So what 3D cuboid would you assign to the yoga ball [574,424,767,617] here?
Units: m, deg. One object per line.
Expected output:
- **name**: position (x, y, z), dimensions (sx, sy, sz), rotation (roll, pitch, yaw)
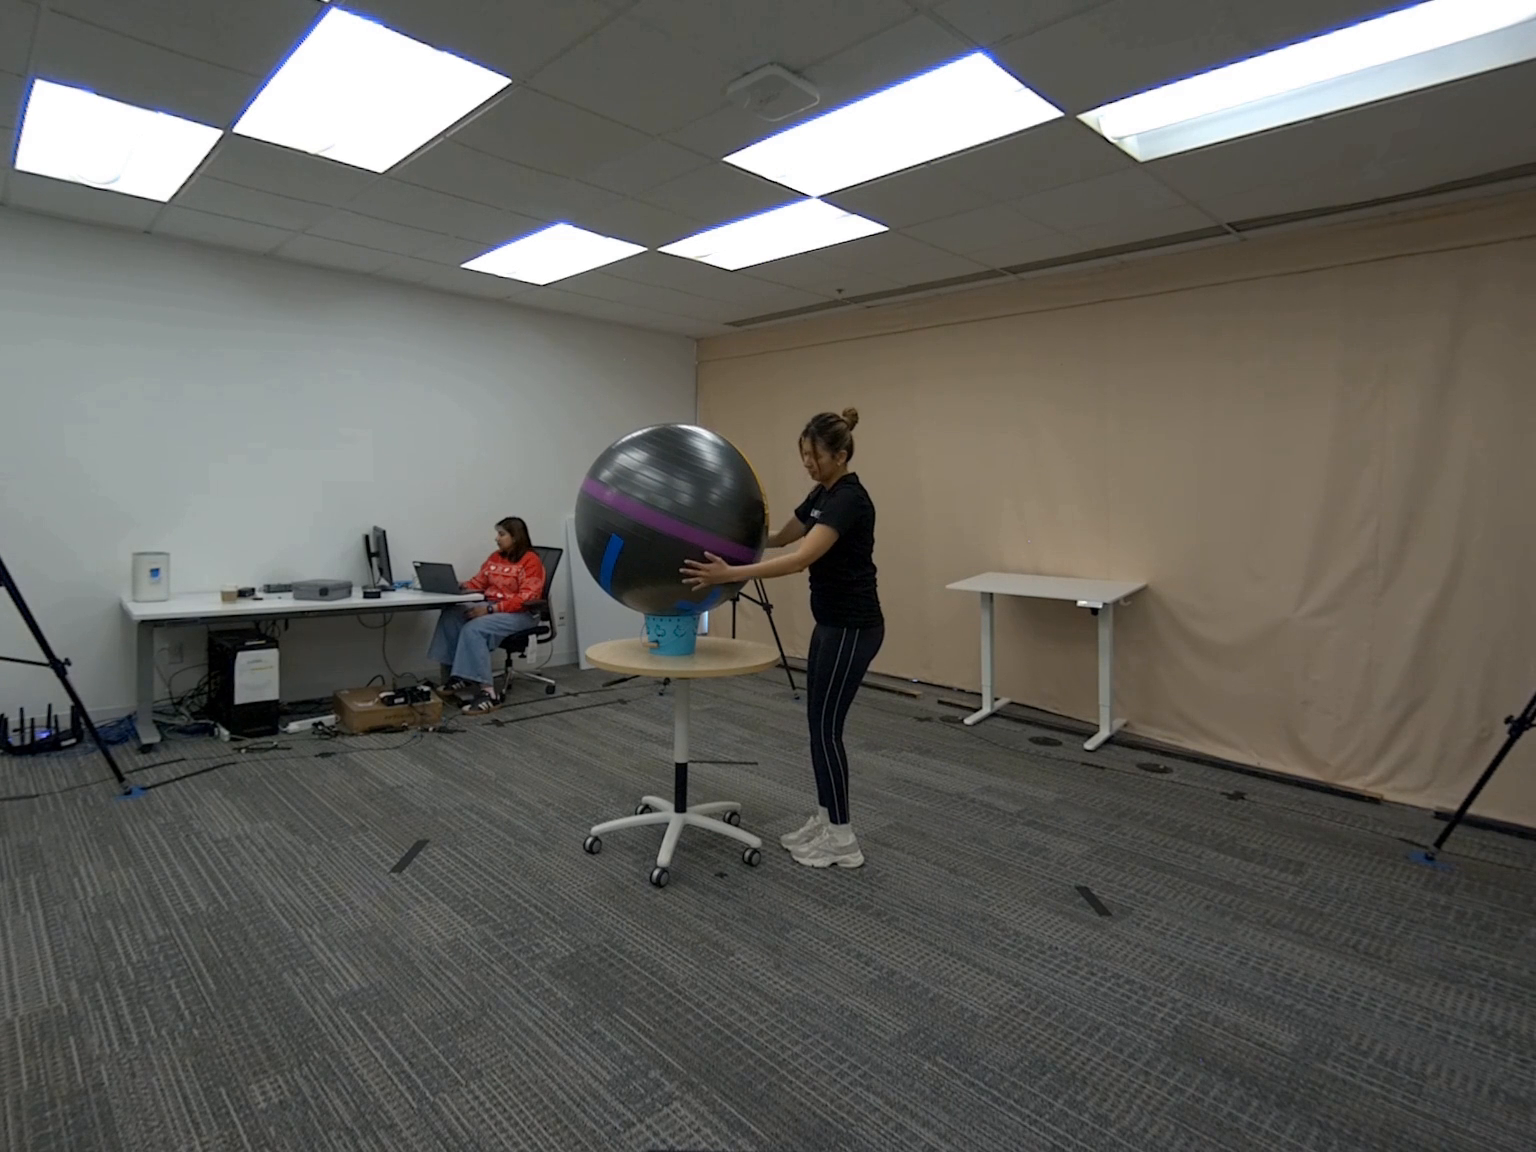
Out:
- **yoga ball**: position (-0.388, -0.214, 3.304), dimensions (0.757, 0.756, 0.761), rotation (1, 4, -1)
